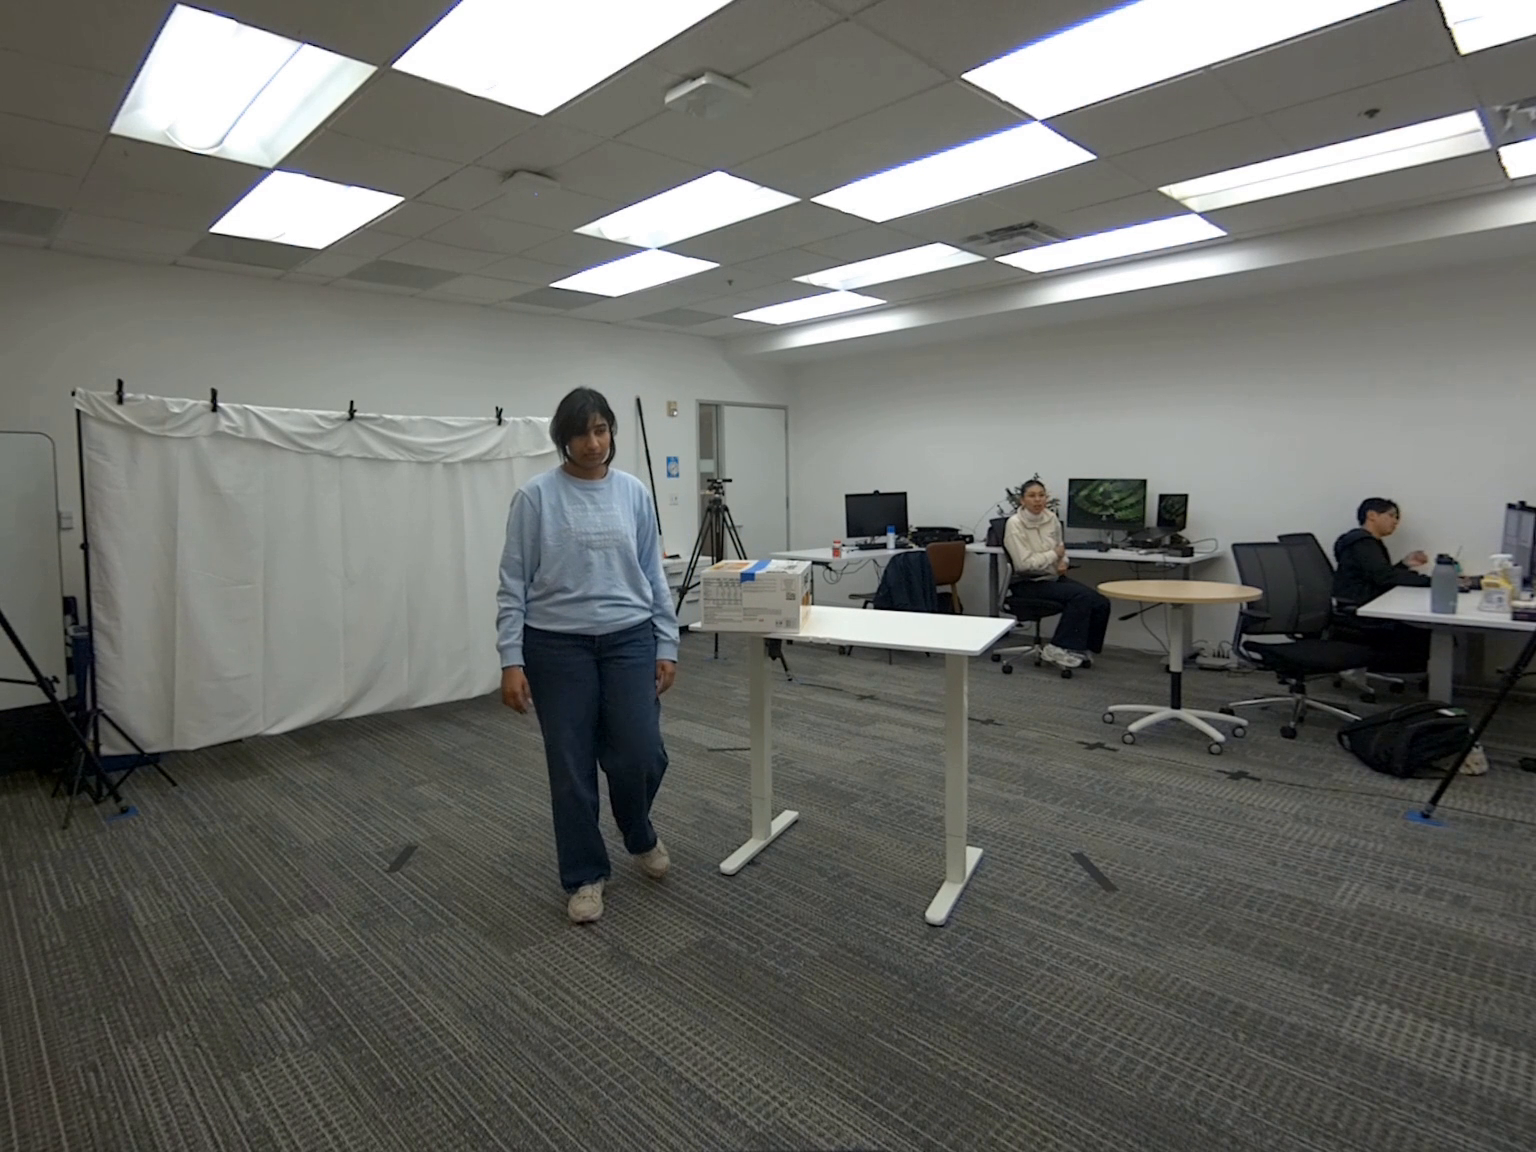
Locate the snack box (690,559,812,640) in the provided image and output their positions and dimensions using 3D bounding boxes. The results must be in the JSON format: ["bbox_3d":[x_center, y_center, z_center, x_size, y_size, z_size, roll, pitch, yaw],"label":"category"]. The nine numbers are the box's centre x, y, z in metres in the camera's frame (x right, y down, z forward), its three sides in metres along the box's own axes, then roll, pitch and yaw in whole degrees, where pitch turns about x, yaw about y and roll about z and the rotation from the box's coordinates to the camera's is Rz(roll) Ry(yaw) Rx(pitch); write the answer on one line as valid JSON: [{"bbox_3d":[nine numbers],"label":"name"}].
[{"bbox_3d":[-0.035,0.066,3.050,0.344,0.205,0.403,0,6,10],"label":"snack box"}]
